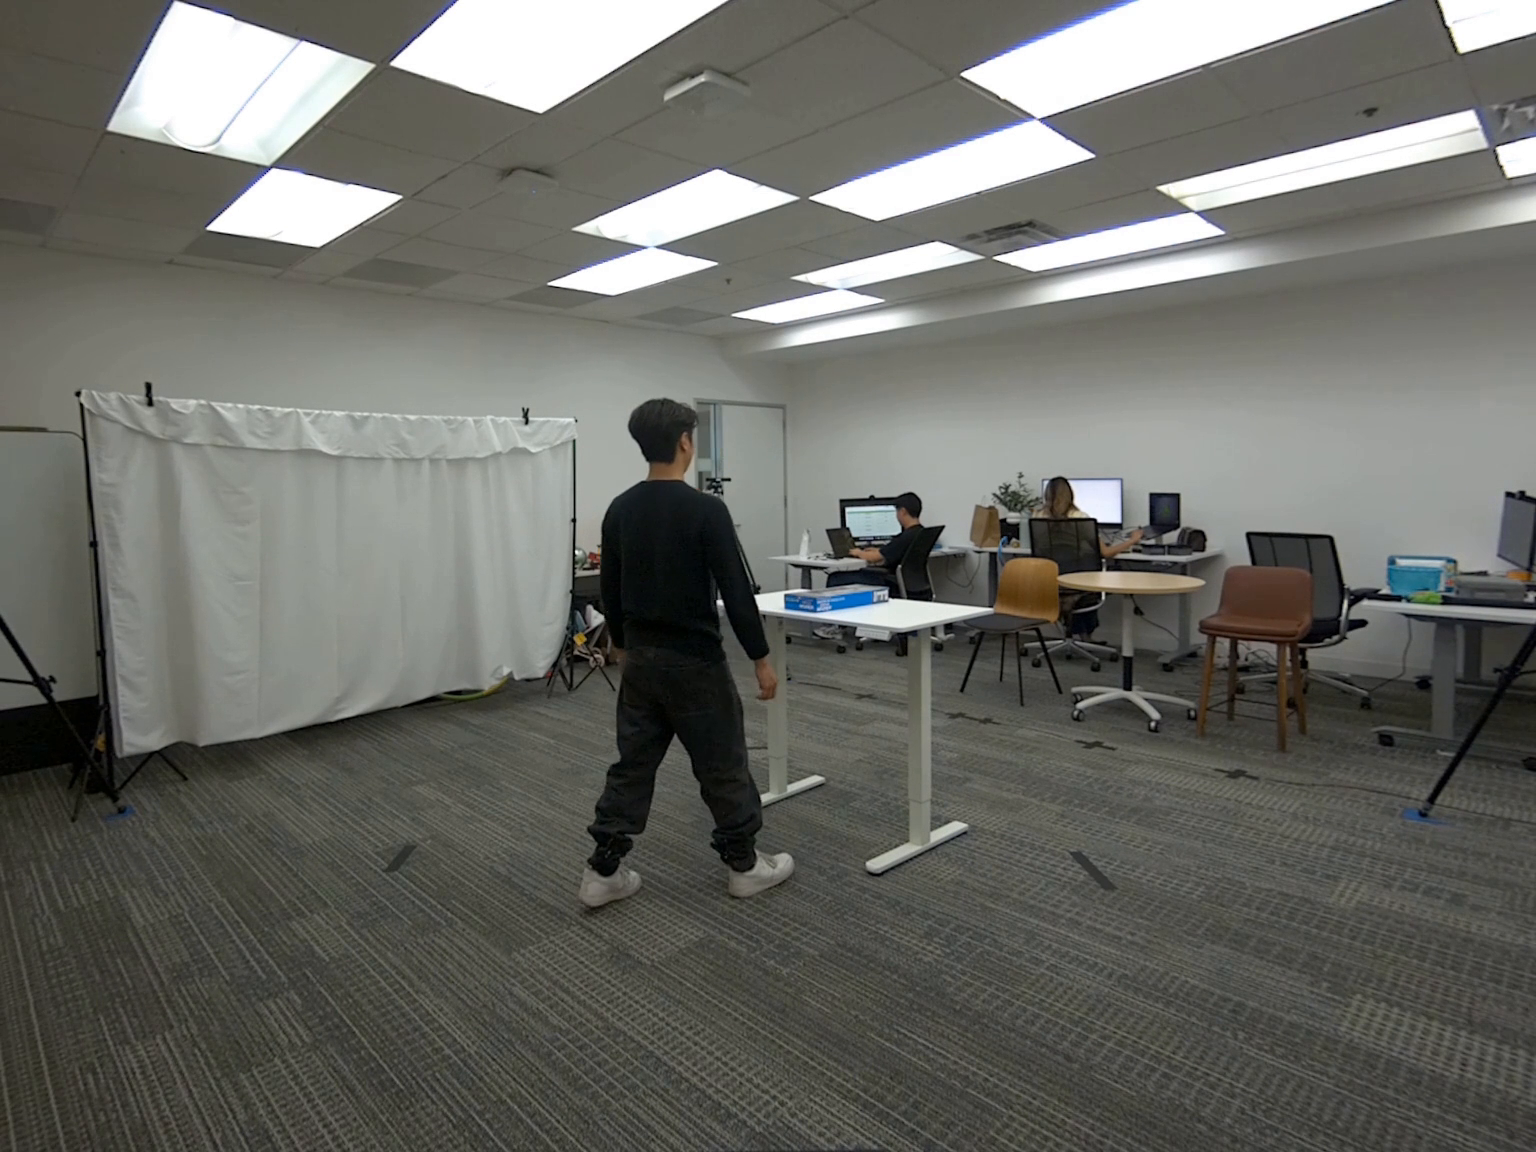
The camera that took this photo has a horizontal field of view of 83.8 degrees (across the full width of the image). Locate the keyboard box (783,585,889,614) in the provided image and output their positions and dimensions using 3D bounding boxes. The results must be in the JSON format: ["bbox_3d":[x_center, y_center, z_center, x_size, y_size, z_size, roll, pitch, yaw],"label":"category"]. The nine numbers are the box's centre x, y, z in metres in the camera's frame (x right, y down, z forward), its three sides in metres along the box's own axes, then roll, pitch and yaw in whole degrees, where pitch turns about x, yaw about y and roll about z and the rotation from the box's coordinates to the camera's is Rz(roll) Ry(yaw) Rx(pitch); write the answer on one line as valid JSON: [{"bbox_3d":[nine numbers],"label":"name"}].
[{"bbox_3d":[0.286,0.089,3.423,0.425,0.059,0.181,-6,8,-42],"label":"keyboard box"}]
